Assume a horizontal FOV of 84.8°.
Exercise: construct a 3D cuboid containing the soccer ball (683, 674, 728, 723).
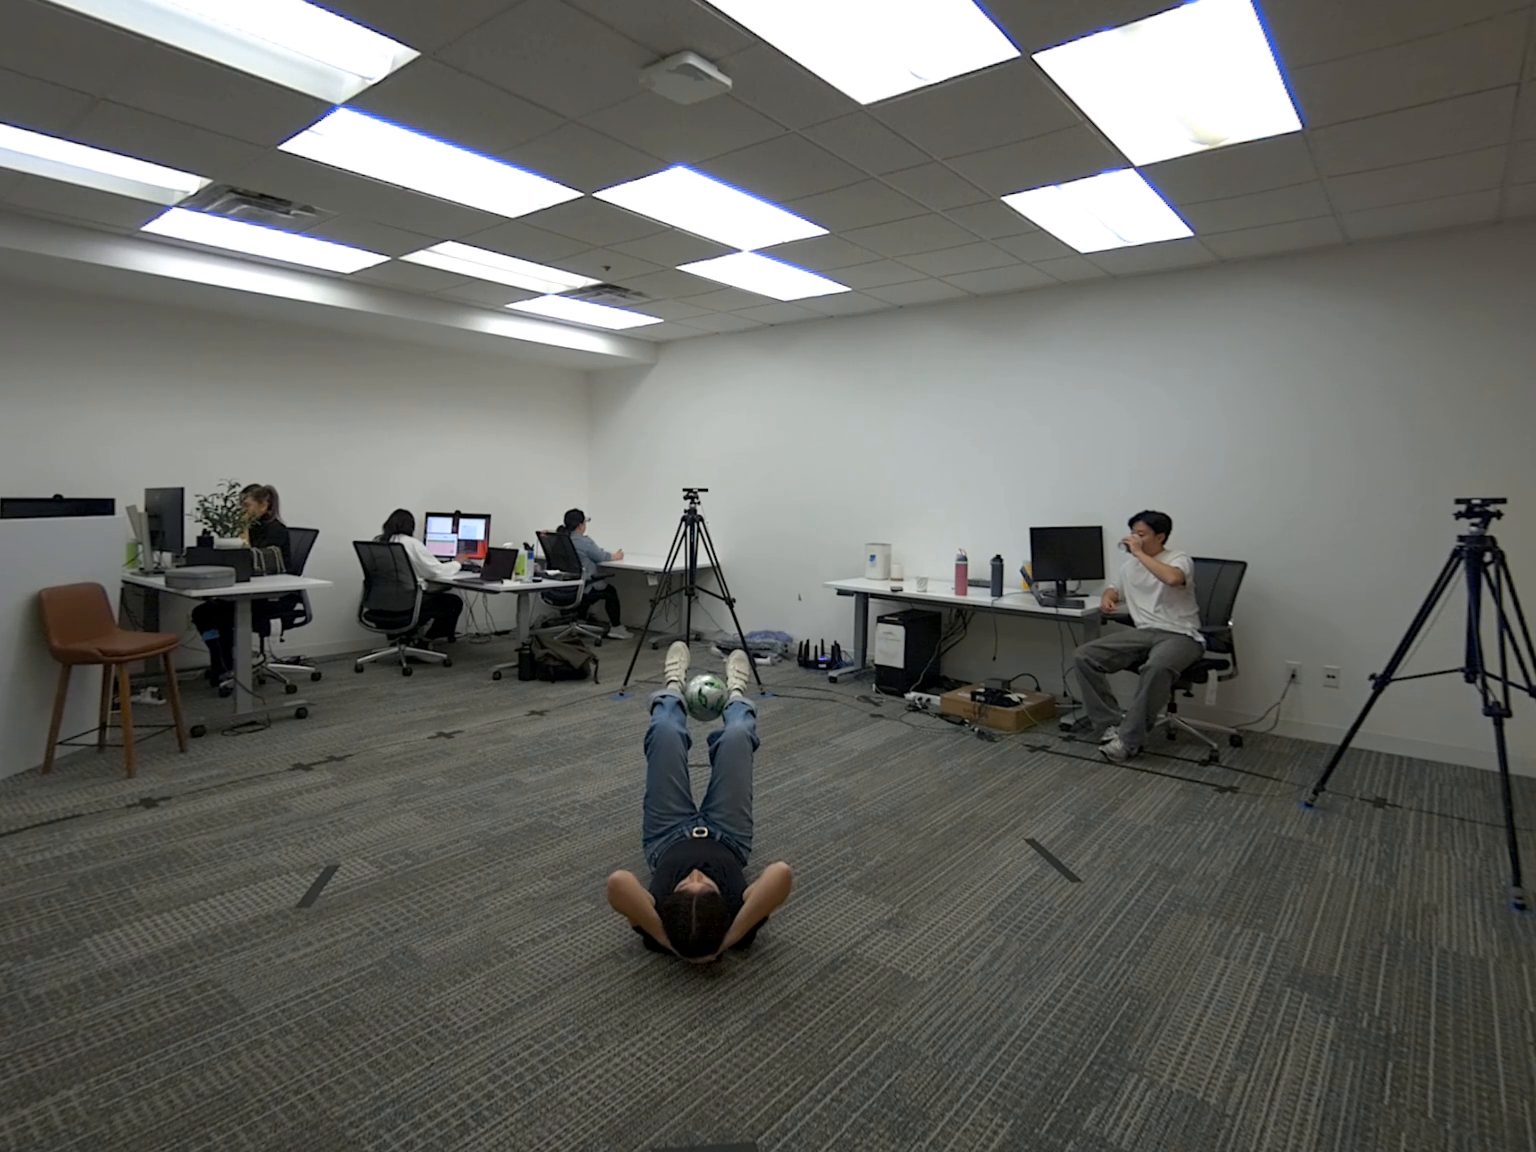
[{"bbox_3d":[-0.250,0.482,3.406,0.187,0.187,0.188,-3,4,-2],"label":"soccer ball"}]
